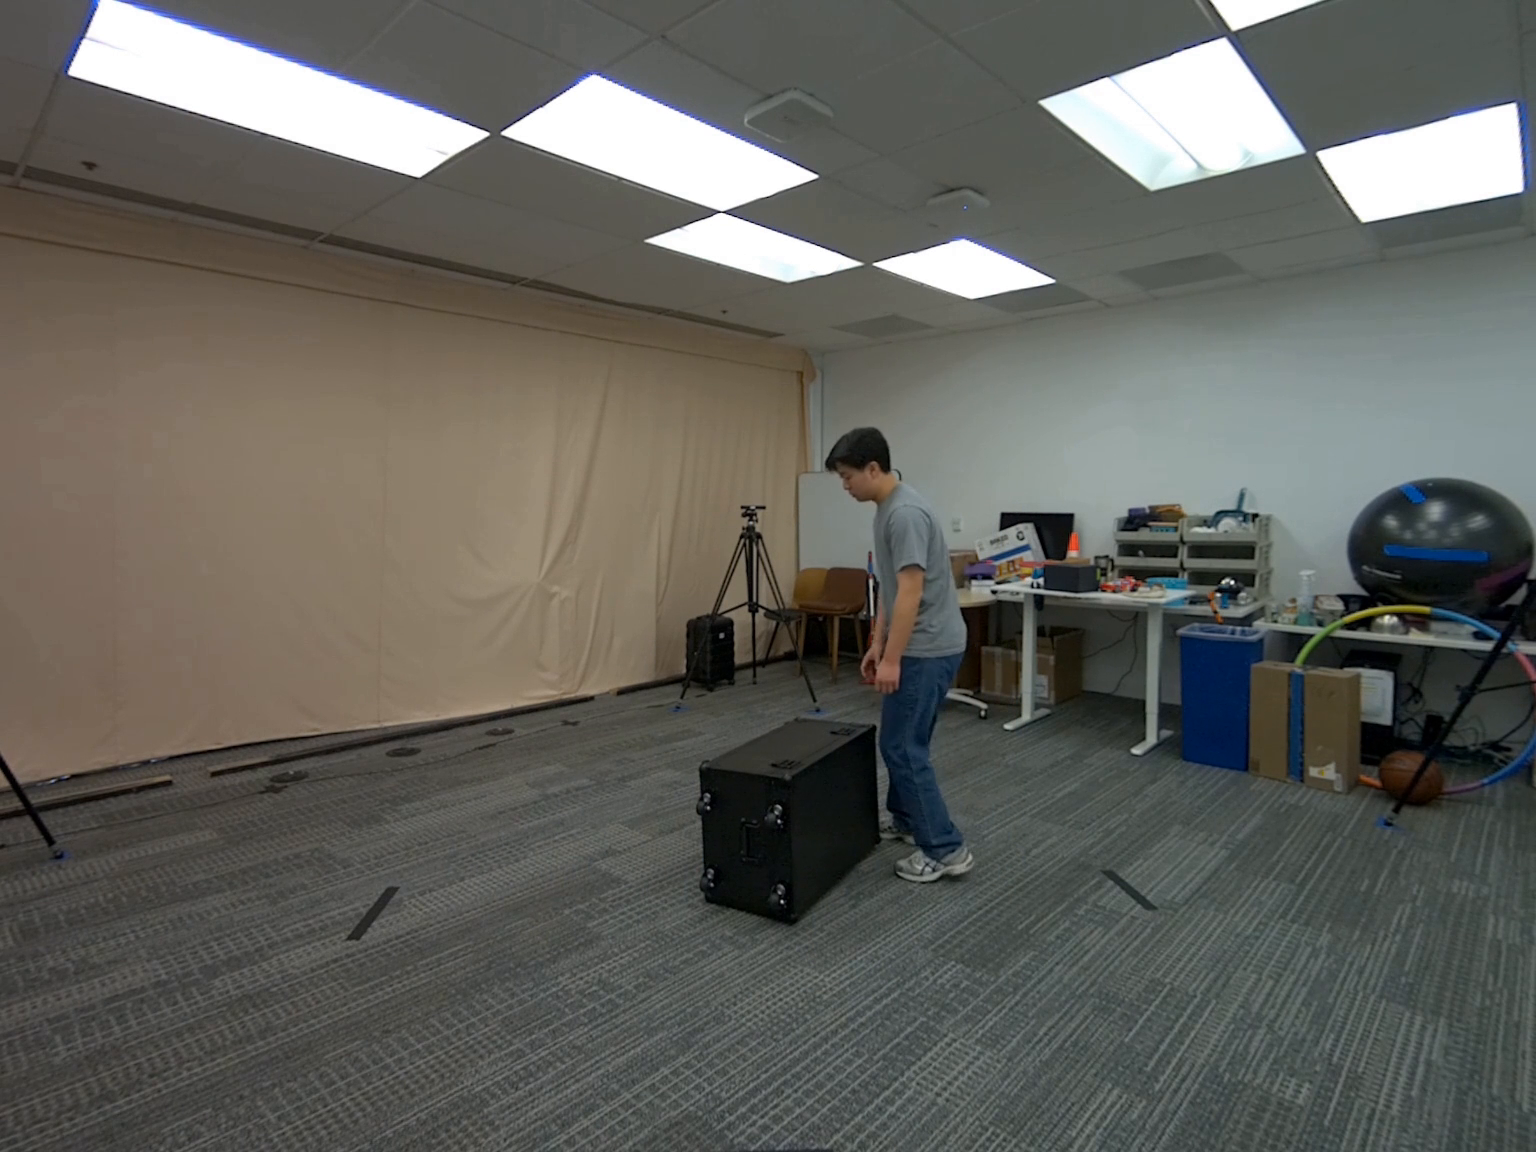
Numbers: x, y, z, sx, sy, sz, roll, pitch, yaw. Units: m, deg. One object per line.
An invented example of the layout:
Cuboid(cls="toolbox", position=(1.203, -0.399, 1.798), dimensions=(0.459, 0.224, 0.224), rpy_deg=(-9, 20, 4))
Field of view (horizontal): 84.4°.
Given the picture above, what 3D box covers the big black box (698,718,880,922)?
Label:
Cuboid(cls="big black box", position=(0.082, 0.874, 3.166), dimensions=(0.407, 0.520, 0.839), rpy_deg=(0, 3, 28))
